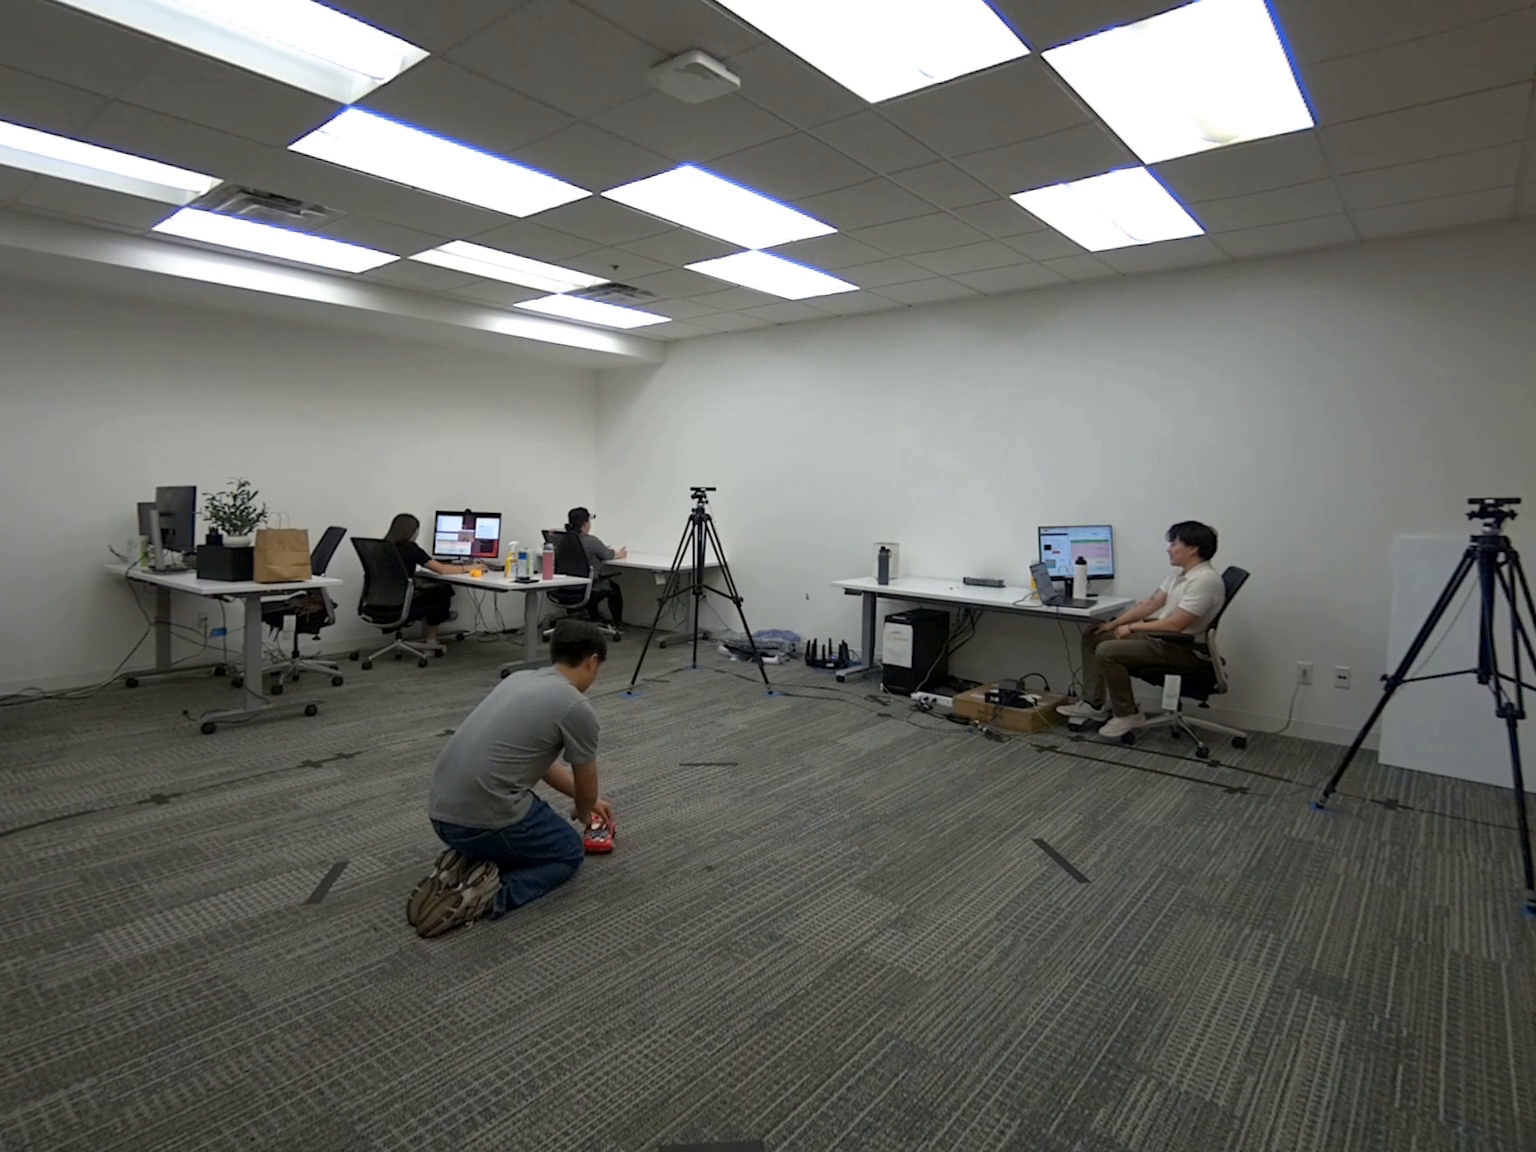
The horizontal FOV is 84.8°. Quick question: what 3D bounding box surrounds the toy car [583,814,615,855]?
[{"bbox_3d":[-0.669,1.008,3.324,0.129,0.082,0.260,0,18,-8],"label":"toy car"}]
